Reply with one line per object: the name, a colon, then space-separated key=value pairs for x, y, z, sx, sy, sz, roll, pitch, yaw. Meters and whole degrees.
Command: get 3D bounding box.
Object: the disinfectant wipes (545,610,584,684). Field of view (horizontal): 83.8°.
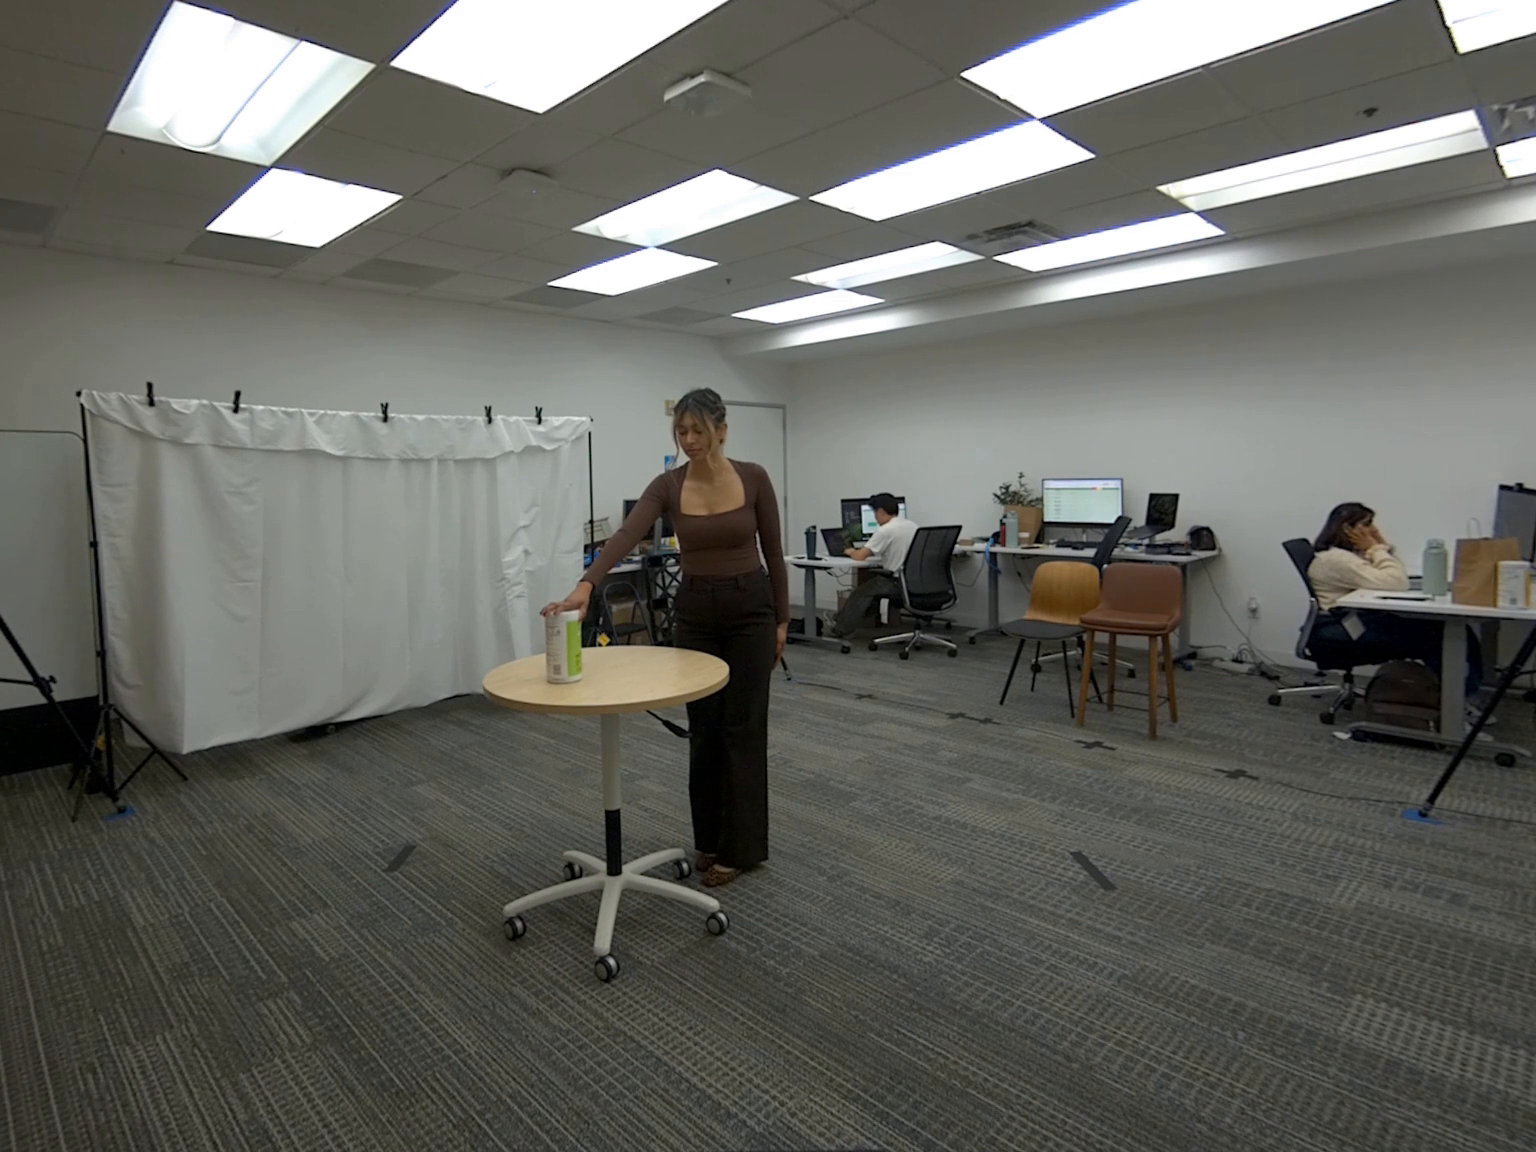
disinfectant wipes: x=-0.616 y=0.210 z=2.594 sx=0.118 sy=0.217 sz=0.118 roll=0 pitch=3 yaw=-2
